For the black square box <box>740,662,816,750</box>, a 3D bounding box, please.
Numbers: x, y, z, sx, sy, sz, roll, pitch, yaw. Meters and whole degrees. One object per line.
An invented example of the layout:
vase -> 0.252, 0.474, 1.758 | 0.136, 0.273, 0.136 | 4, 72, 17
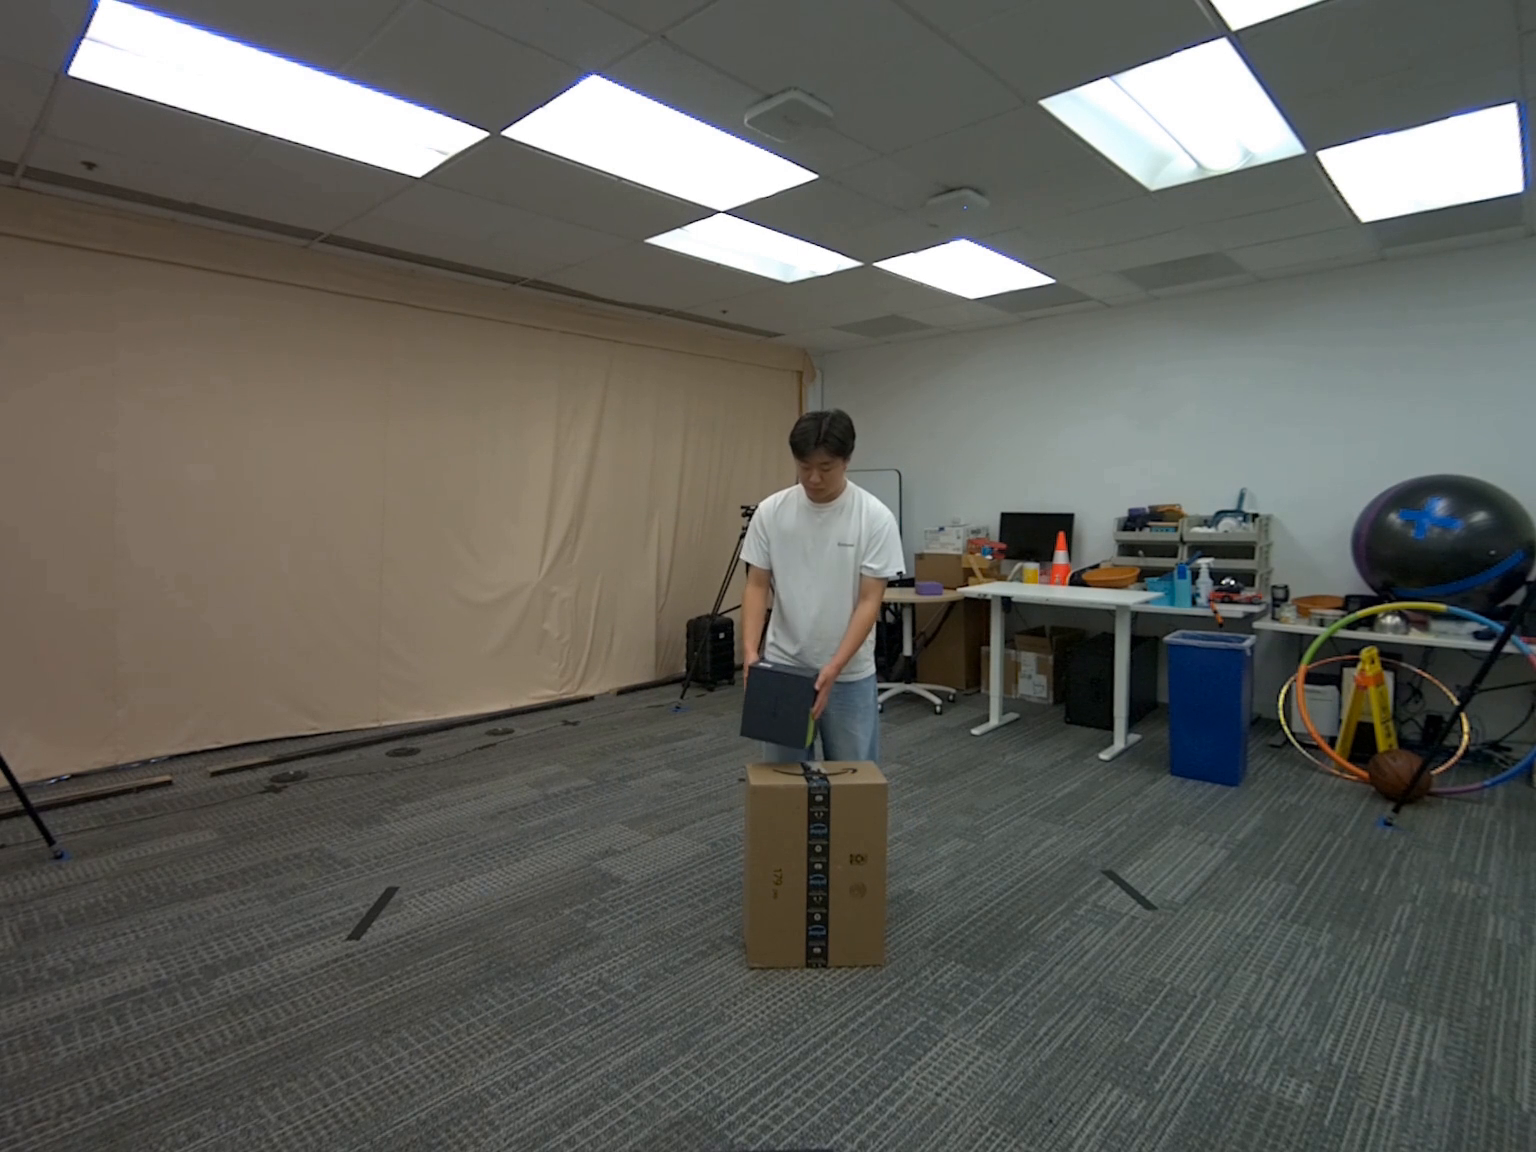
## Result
black square box -> 0.045, 0.408, 2.695 | 0.221, 0.227, 0.153 | 8, 4, 17
